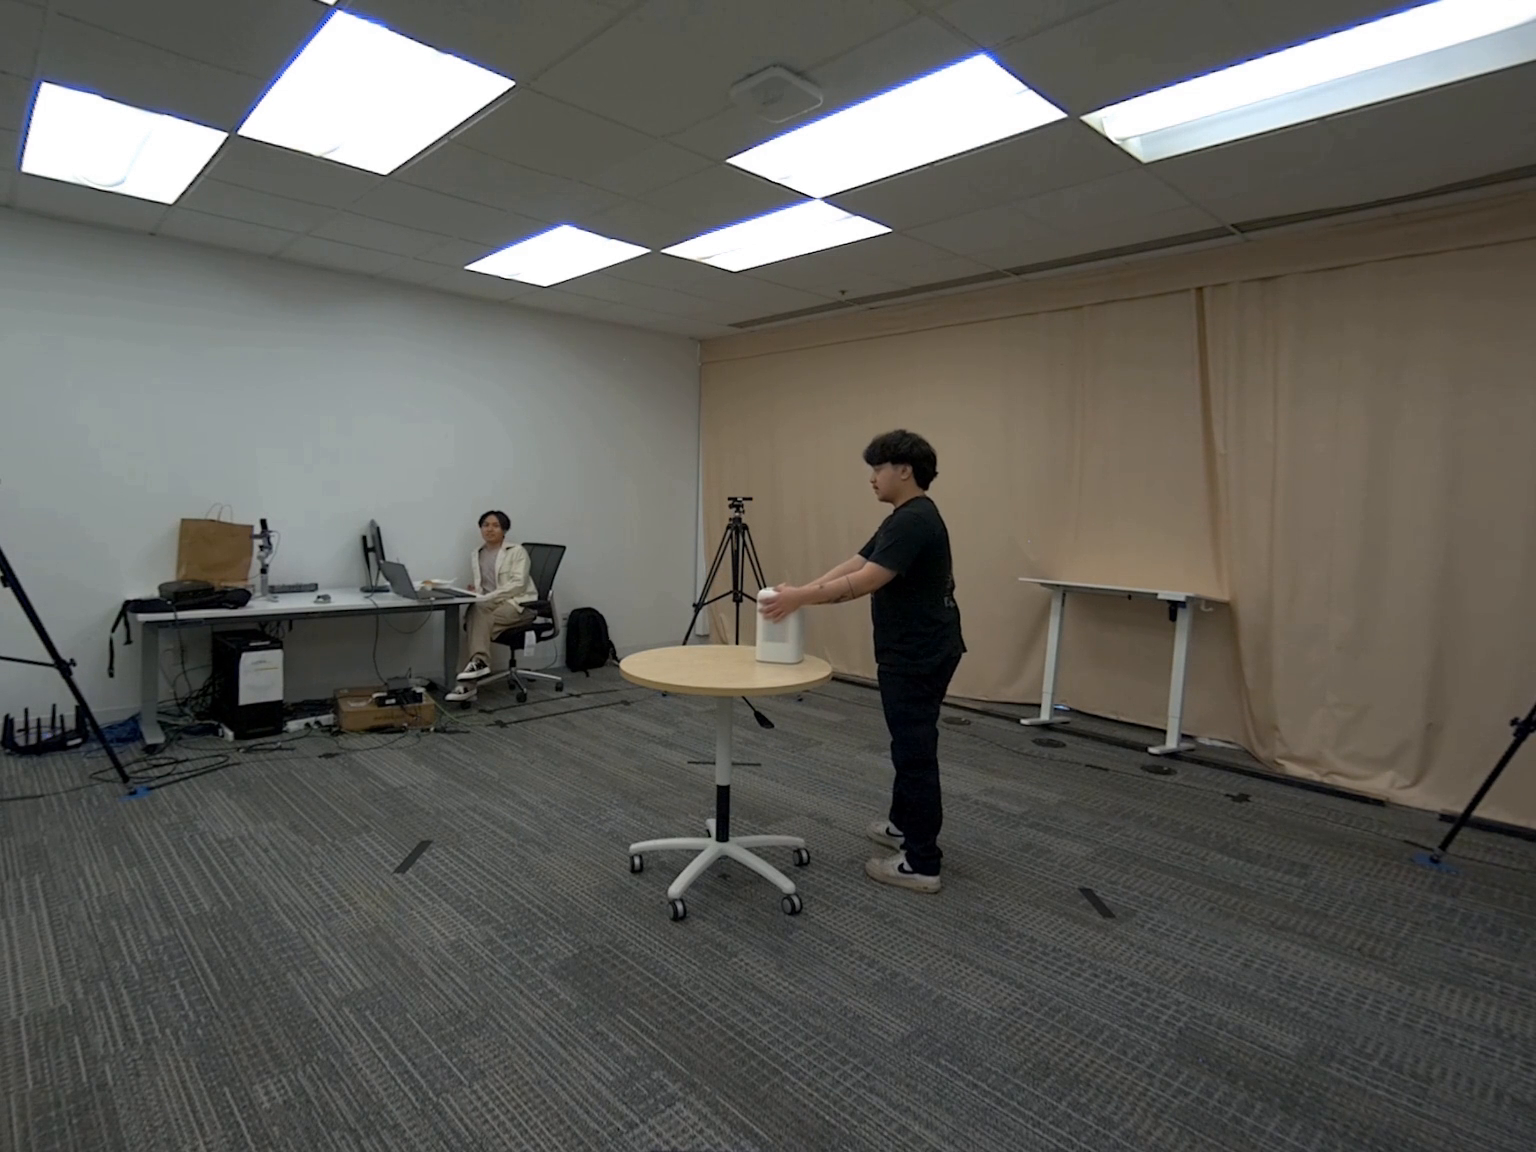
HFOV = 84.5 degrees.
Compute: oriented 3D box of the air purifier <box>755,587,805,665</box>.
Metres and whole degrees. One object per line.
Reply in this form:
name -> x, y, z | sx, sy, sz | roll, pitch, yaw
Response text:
air purifier -> 0.046, 0.184, 3.150 | 0.174, 0.265, 0.169 | 3, 2, 14
